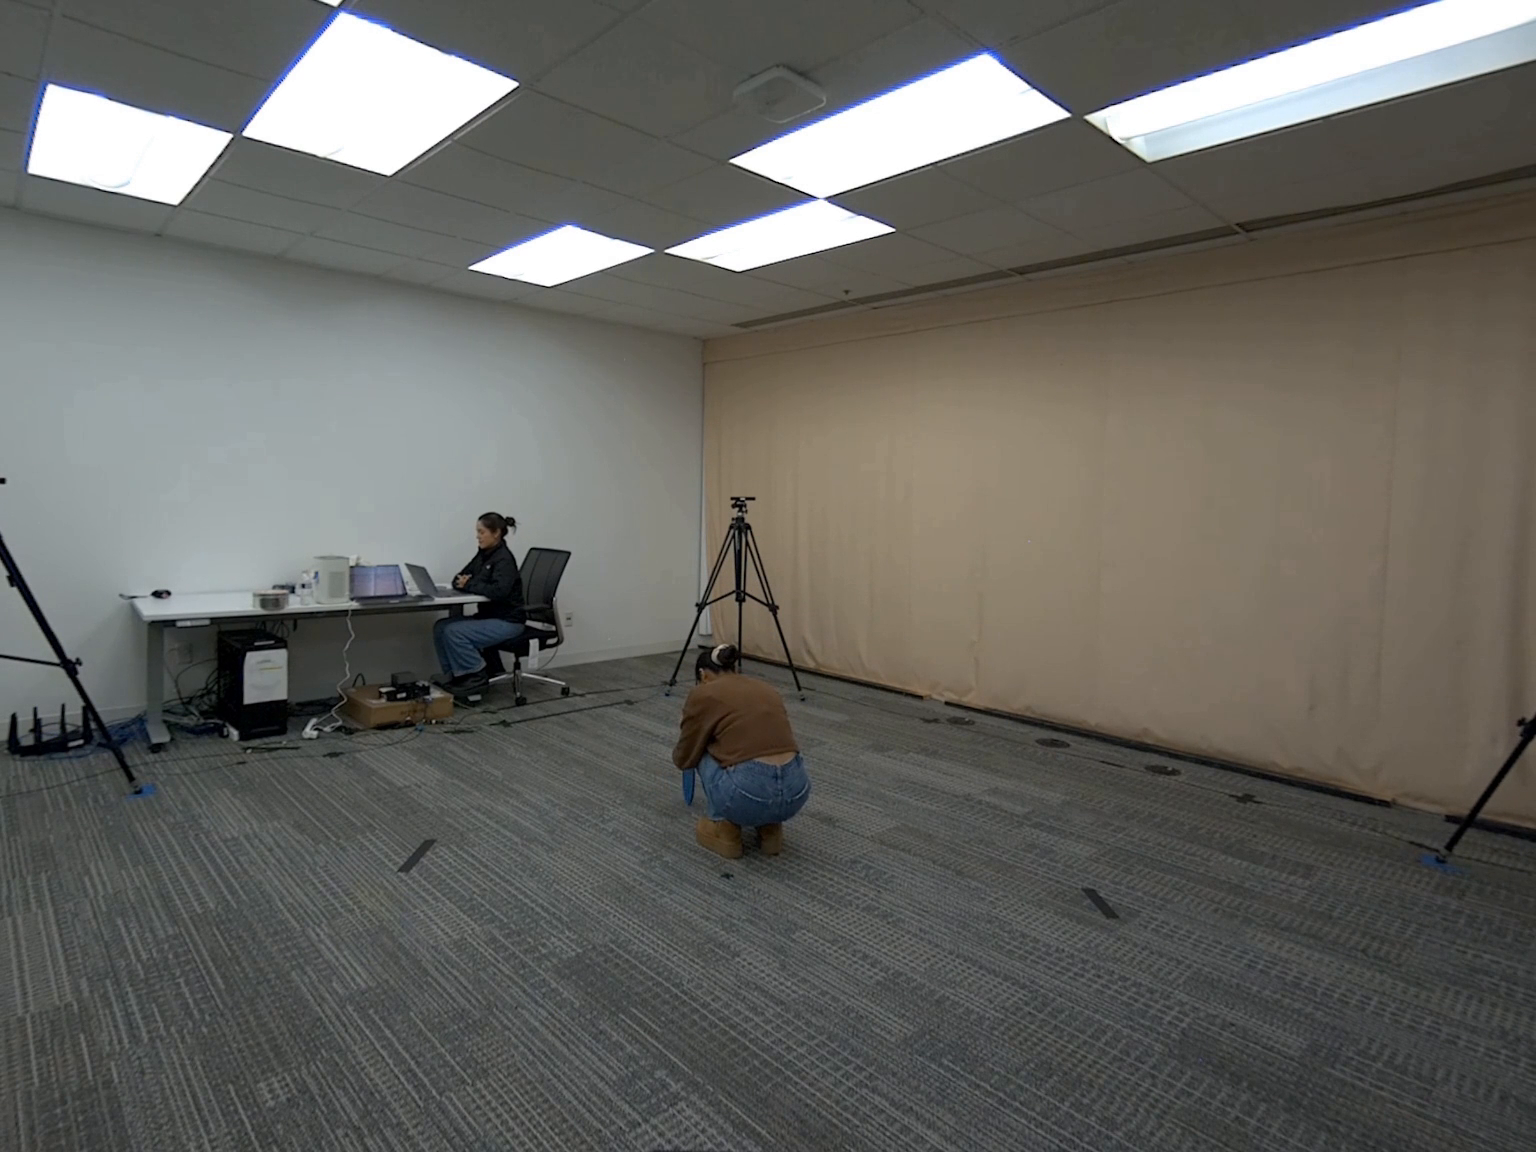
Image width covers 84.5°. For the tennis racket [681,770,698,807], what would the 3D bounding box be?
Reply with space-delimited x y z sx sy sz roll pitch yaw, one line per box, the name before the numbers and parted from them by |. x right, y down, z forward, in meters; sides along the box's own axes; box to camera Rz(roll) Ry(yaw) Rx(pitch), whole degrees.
tennis racket | -0.361 0.825 3.820 0.031 0.432 0.217 0 4 -19
